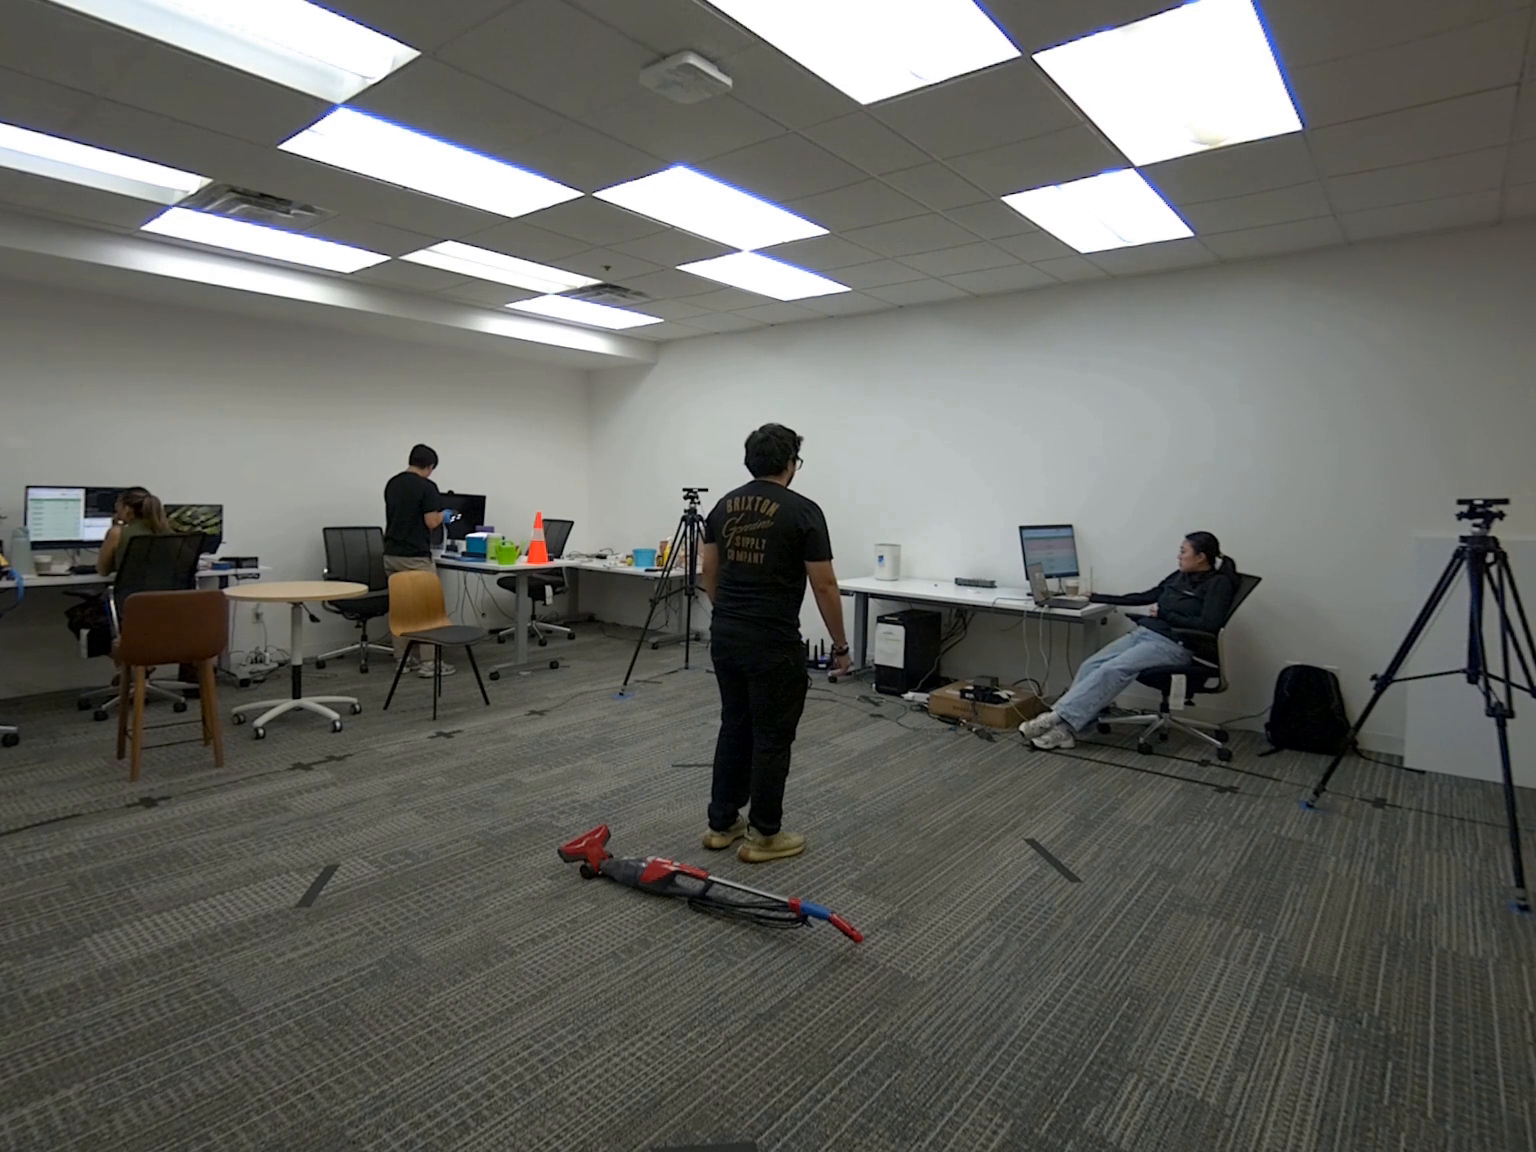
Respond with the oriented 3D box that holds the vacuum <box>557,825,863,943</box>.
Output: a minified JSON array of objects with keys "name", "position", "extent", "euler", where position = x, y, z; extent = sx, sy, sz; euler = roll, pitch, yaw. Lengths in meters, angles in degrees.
[{"name":"vacuum","position":[-0.205,1.041,2.801],"extent":[1.082,0.143,0.246],"euler":[5,7,32]}]
